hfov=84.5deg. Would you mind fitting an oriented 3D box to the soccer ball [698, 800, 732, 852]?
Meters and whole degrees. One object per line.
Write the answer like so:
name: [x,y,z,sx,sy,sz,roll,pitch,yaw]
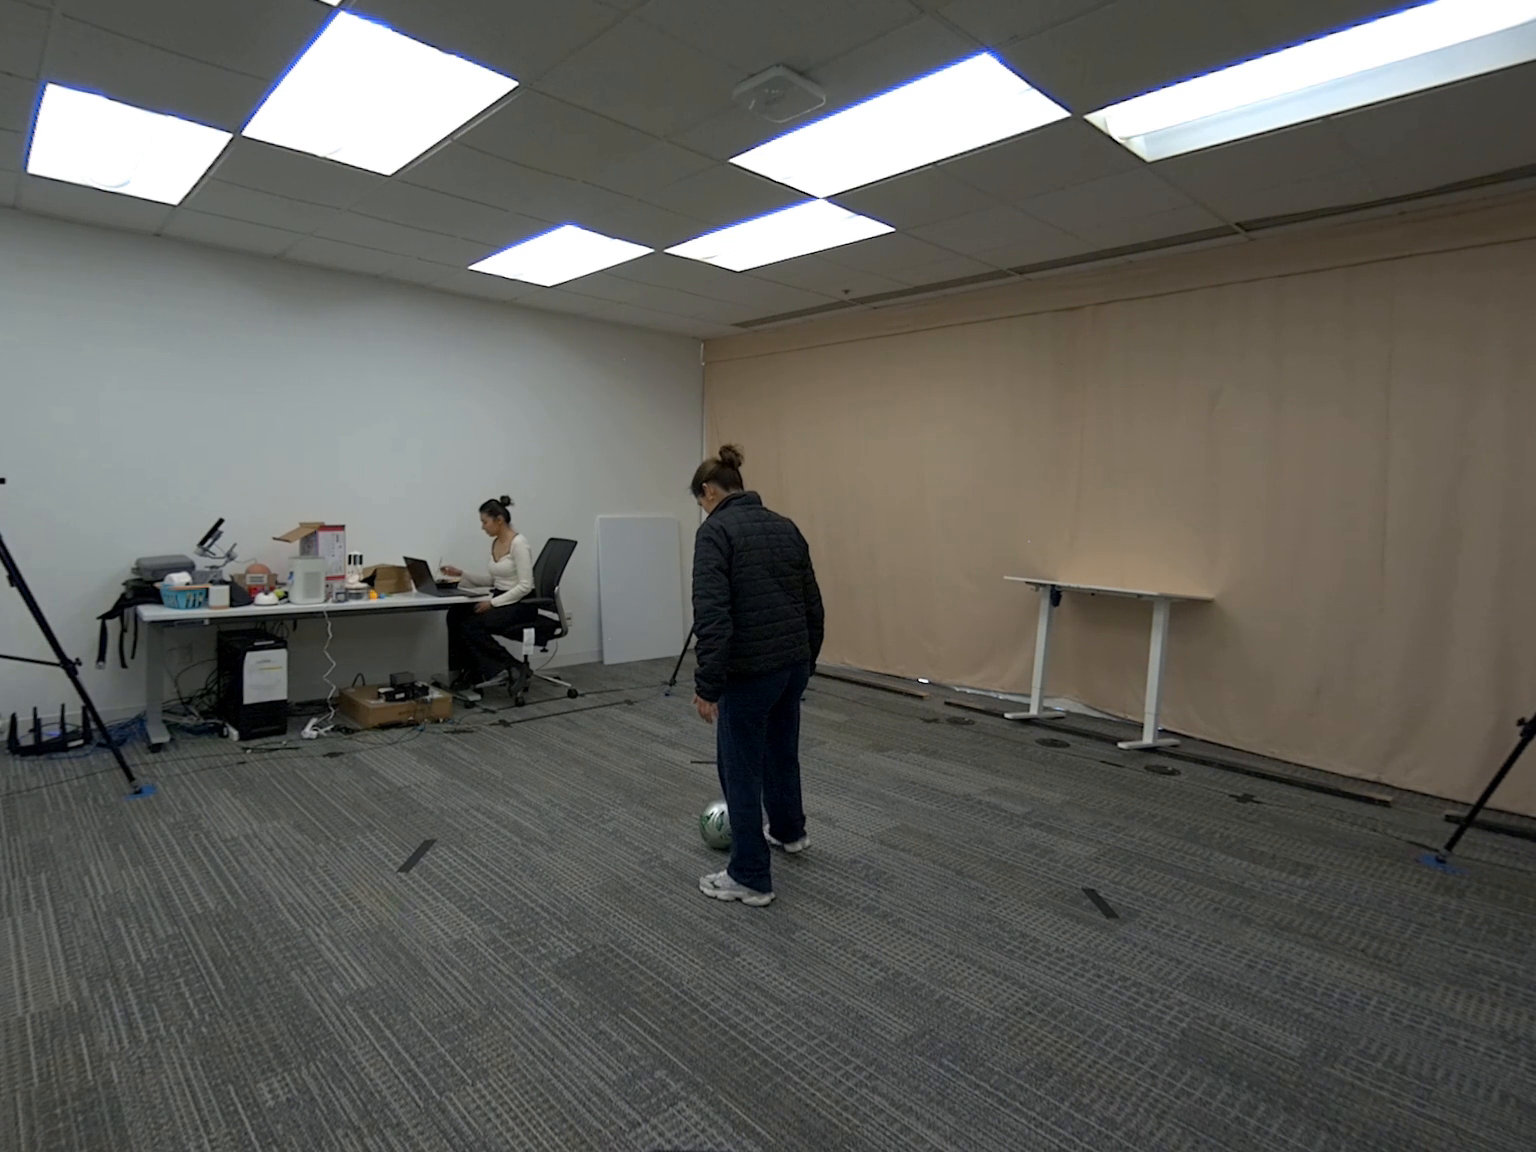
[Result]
soccer ball: [-0.189,0.983,3.352,0.187,0.187,0.188,1,4,-1]
